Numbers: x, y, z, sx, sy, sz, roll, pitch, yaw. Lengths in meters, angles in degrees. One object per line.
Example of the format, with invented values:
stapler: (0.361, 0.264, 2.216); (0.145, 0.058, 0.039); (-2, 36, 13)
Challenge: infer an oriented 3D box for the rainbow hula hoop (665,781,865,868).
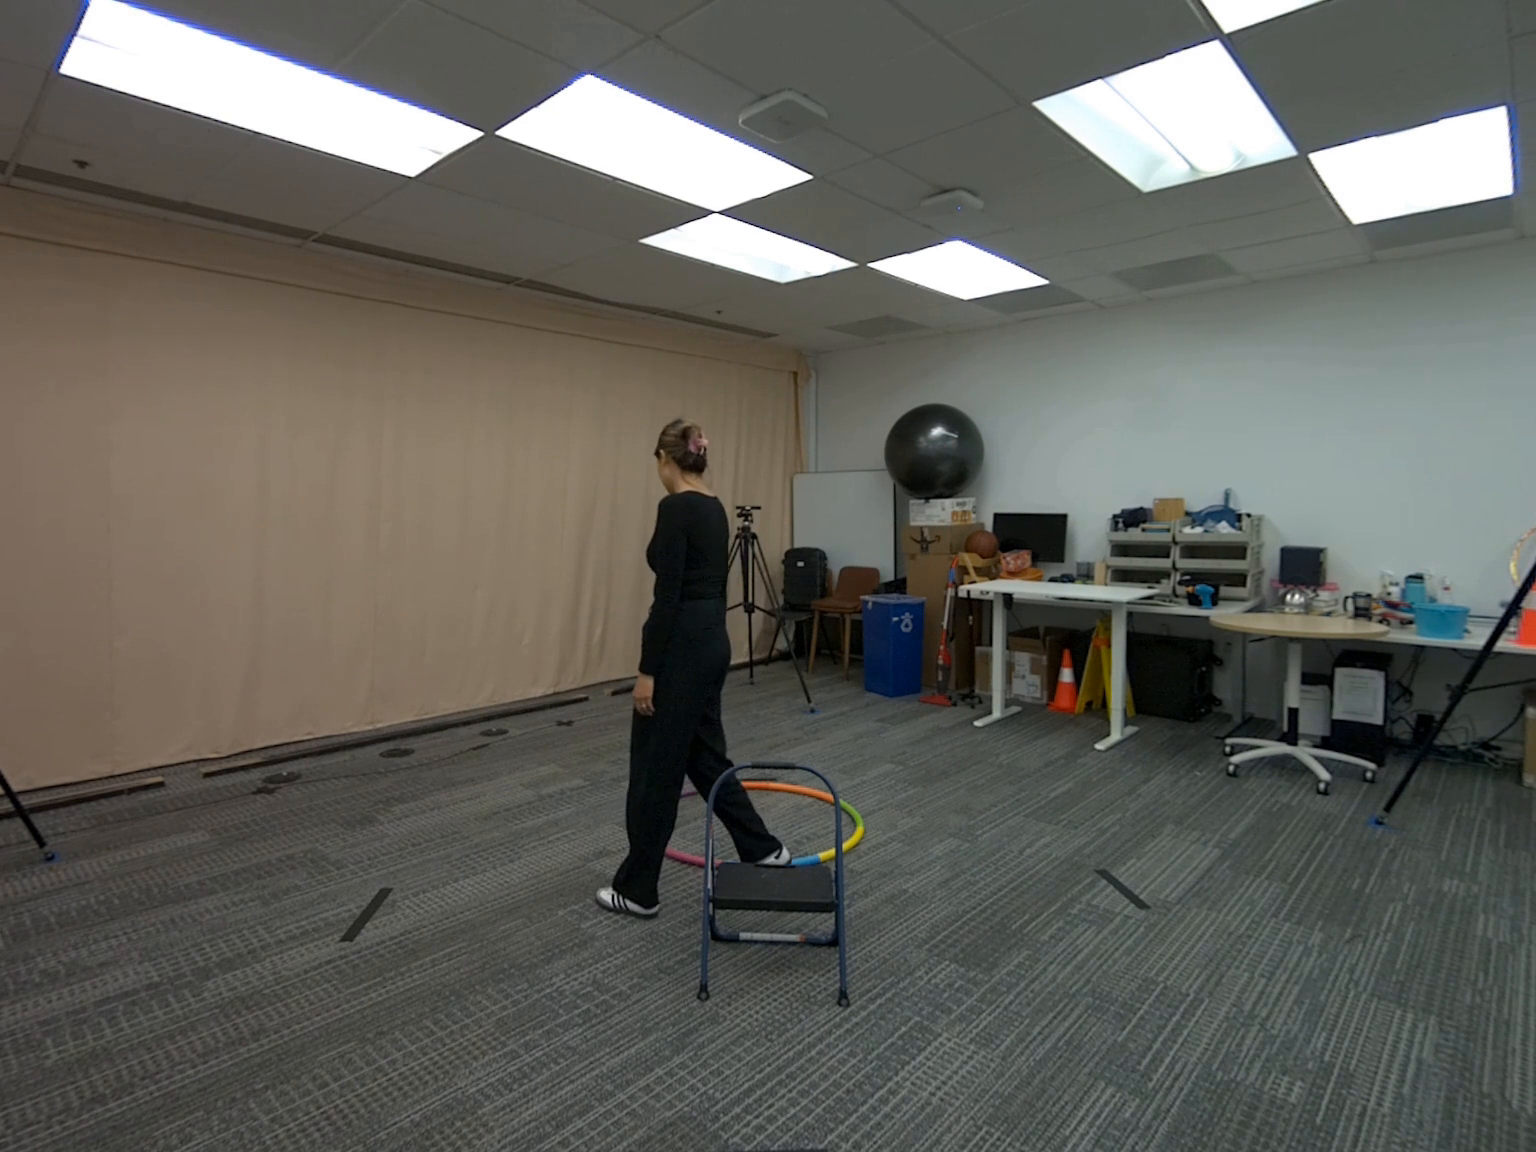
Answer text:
rainbow hula hoop: (-0.083, 1.053, 3.679); (0.978, 0.035, 0.982); (-1, 5, -2)
